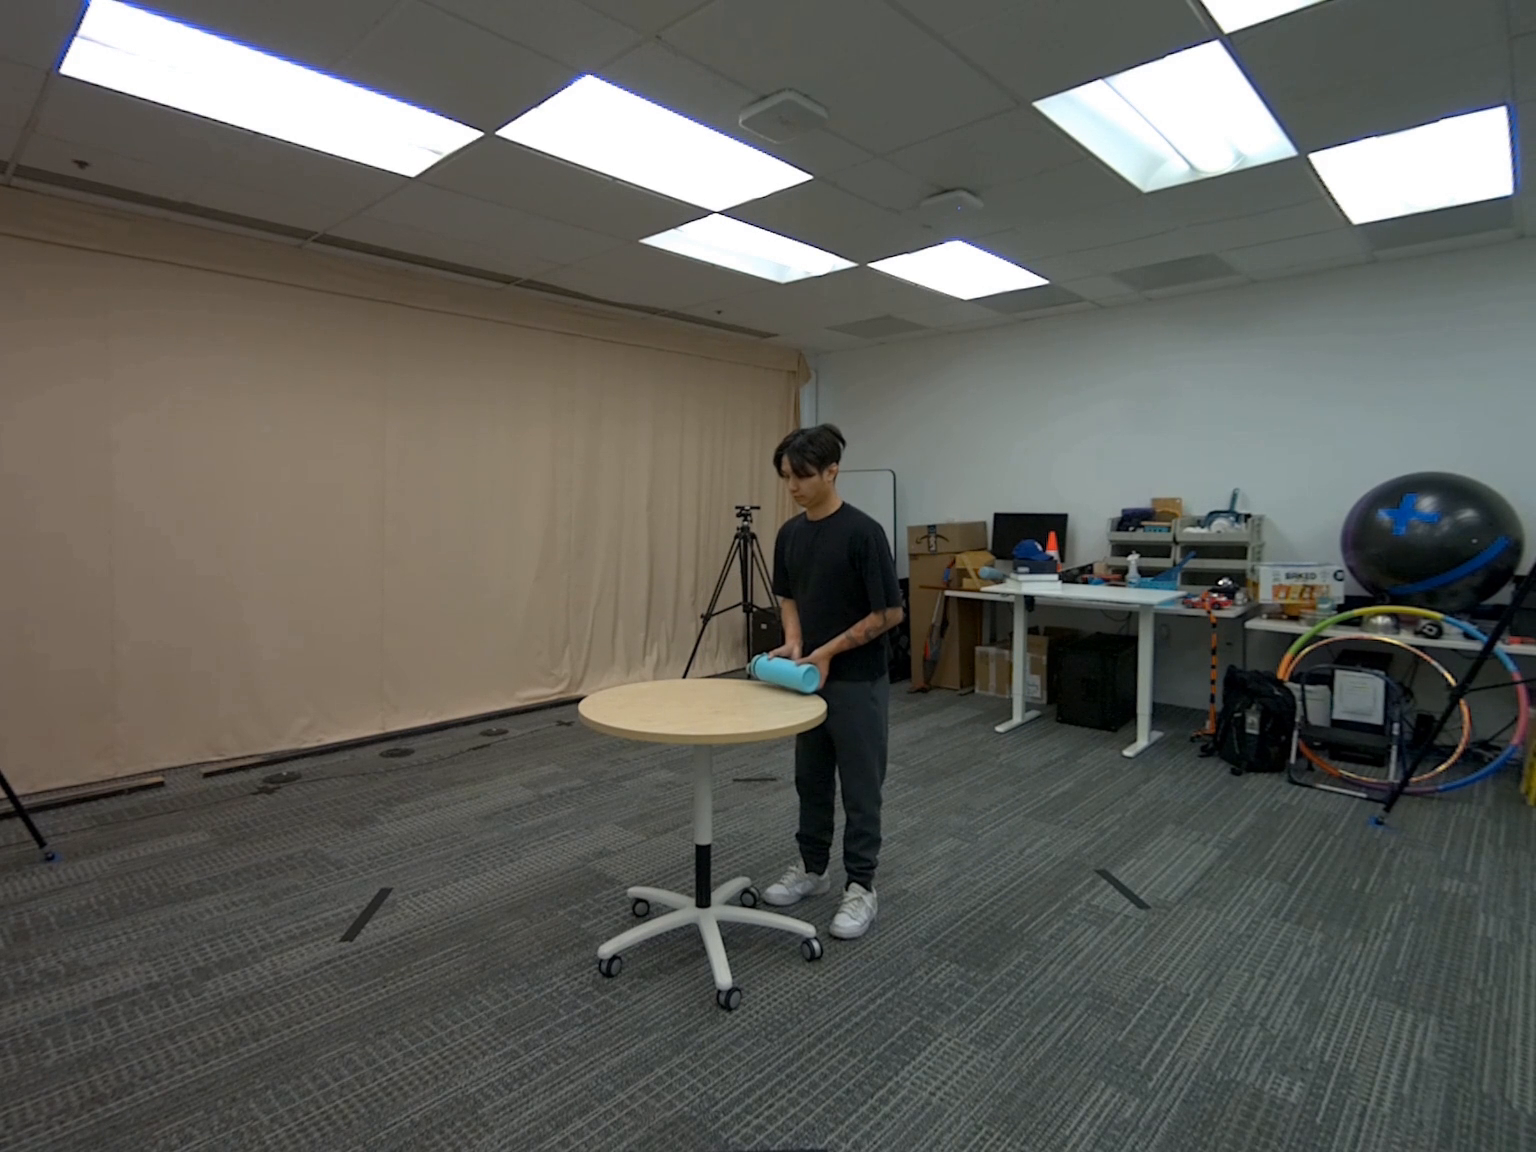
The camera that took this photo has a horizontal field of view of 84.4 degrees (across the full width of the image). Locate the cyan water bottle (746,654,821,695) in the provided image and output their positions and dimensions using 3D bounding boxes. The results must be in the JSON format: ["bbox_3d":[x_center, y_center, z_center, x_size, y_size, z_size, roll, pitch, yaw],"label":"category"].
[{"bbox_3d":[0.041,0.321,2.798,0.089,0.092,0.293,-3,6,-40],"label":"cyan water bottle"}]
